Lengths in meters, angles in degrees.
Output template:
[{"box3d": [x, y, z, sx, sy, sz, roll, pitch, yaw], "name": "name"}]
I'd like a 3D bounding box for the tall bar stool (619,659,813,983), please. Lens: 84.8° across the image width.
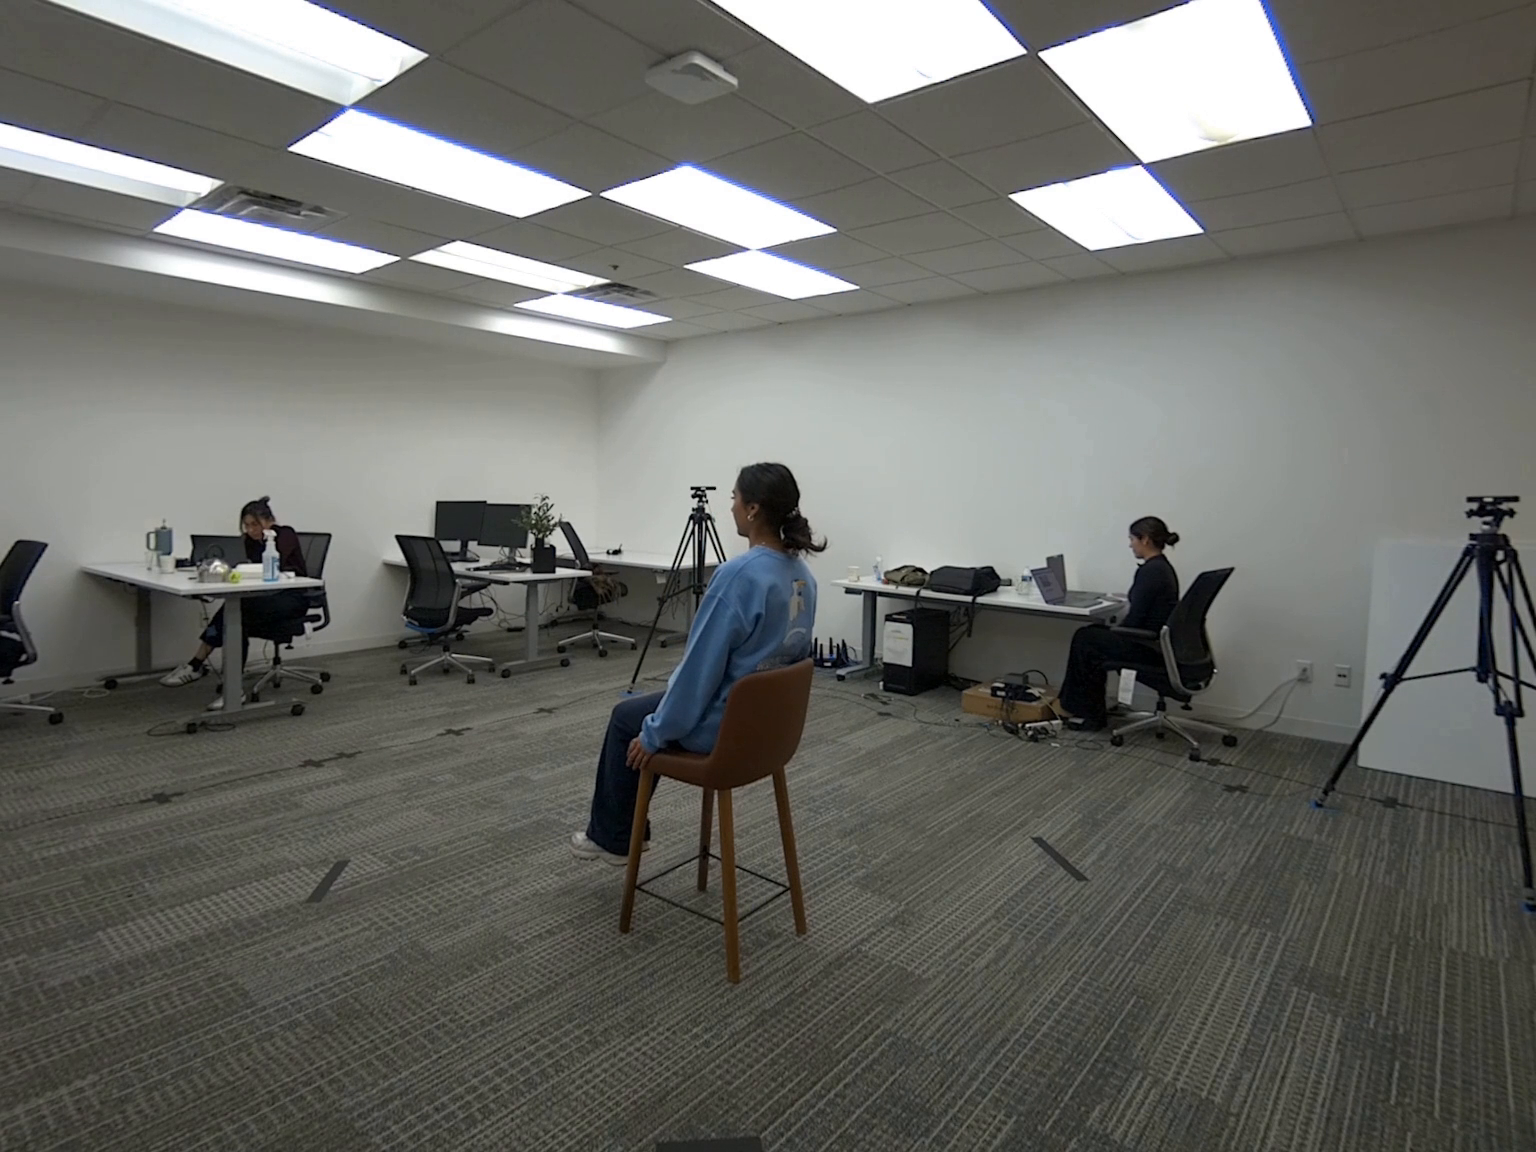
[{"box3d": [-0.158, 0.678, 2.632, 0.483, 0.886, 0.443, 6, 6, 37], "name": "tall bar stool"}]
